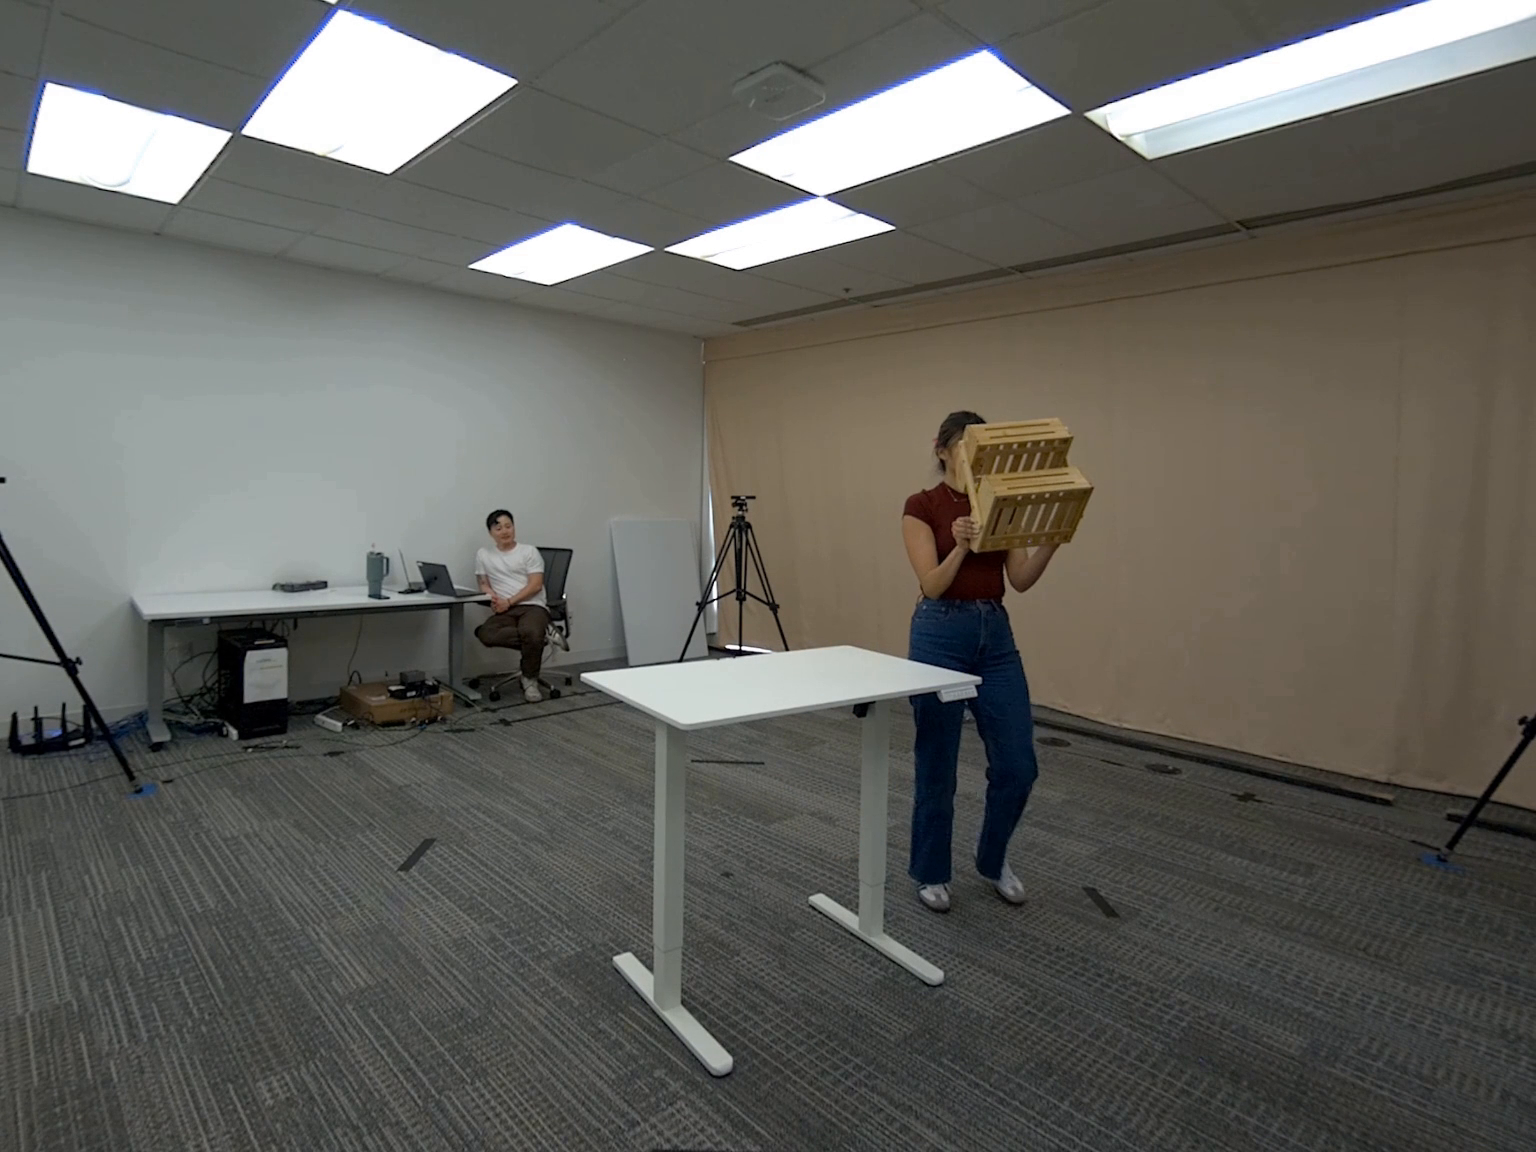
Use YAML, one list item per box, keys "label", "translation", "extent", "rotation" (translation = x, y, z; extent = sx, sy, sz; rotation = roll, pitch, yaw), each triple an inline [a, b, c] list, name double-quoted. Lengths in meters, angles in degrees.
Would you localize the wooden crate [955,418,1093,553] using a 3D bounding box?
- label: "wooden crate"
  translation: [0.745, -0.268, 2.542]
  extent: [0.322, 0.296, 0.280]
  rotation: [-5, 48, -9]
